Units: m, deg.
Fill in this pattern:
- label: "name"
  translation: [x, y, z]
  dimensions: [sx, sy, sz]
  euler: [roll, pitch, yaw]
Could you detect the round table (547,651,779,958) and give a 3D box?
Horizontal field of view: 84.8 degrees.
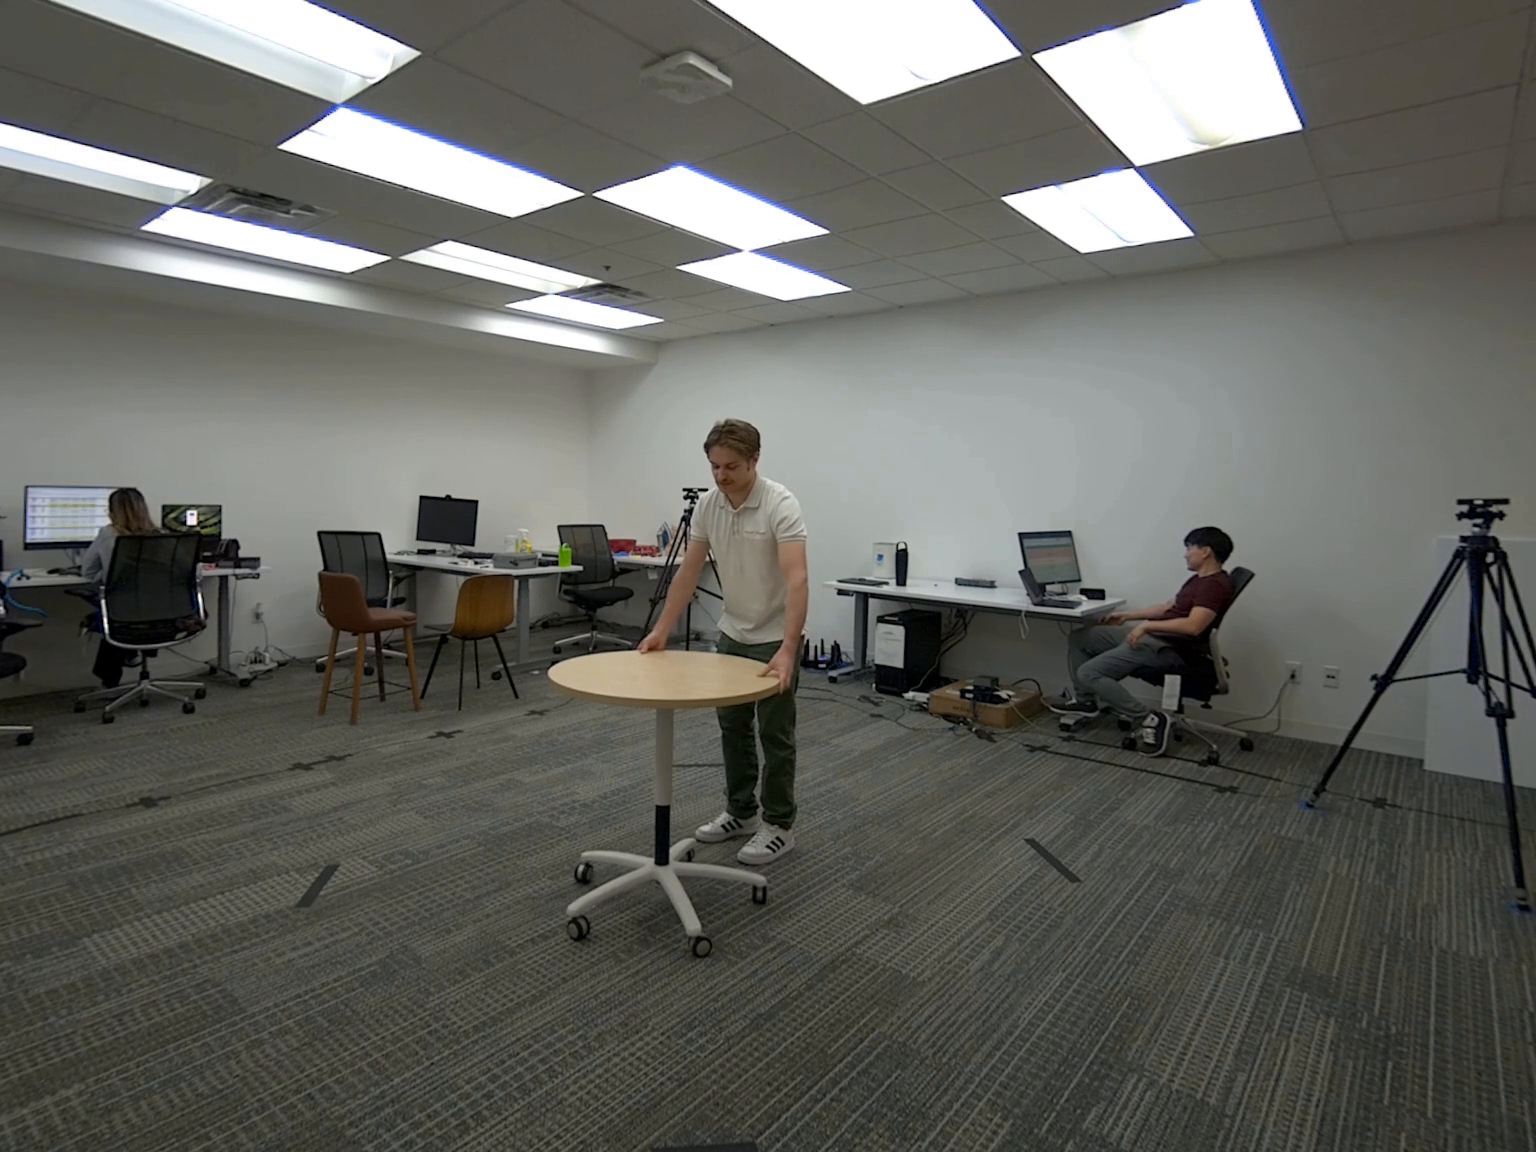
- label: "round table"
  translation: [-0.362, 0.706, 2.816]
  dimensions: [0.763, 0.792, 0.767]
  euler: [1, 4, -2]
